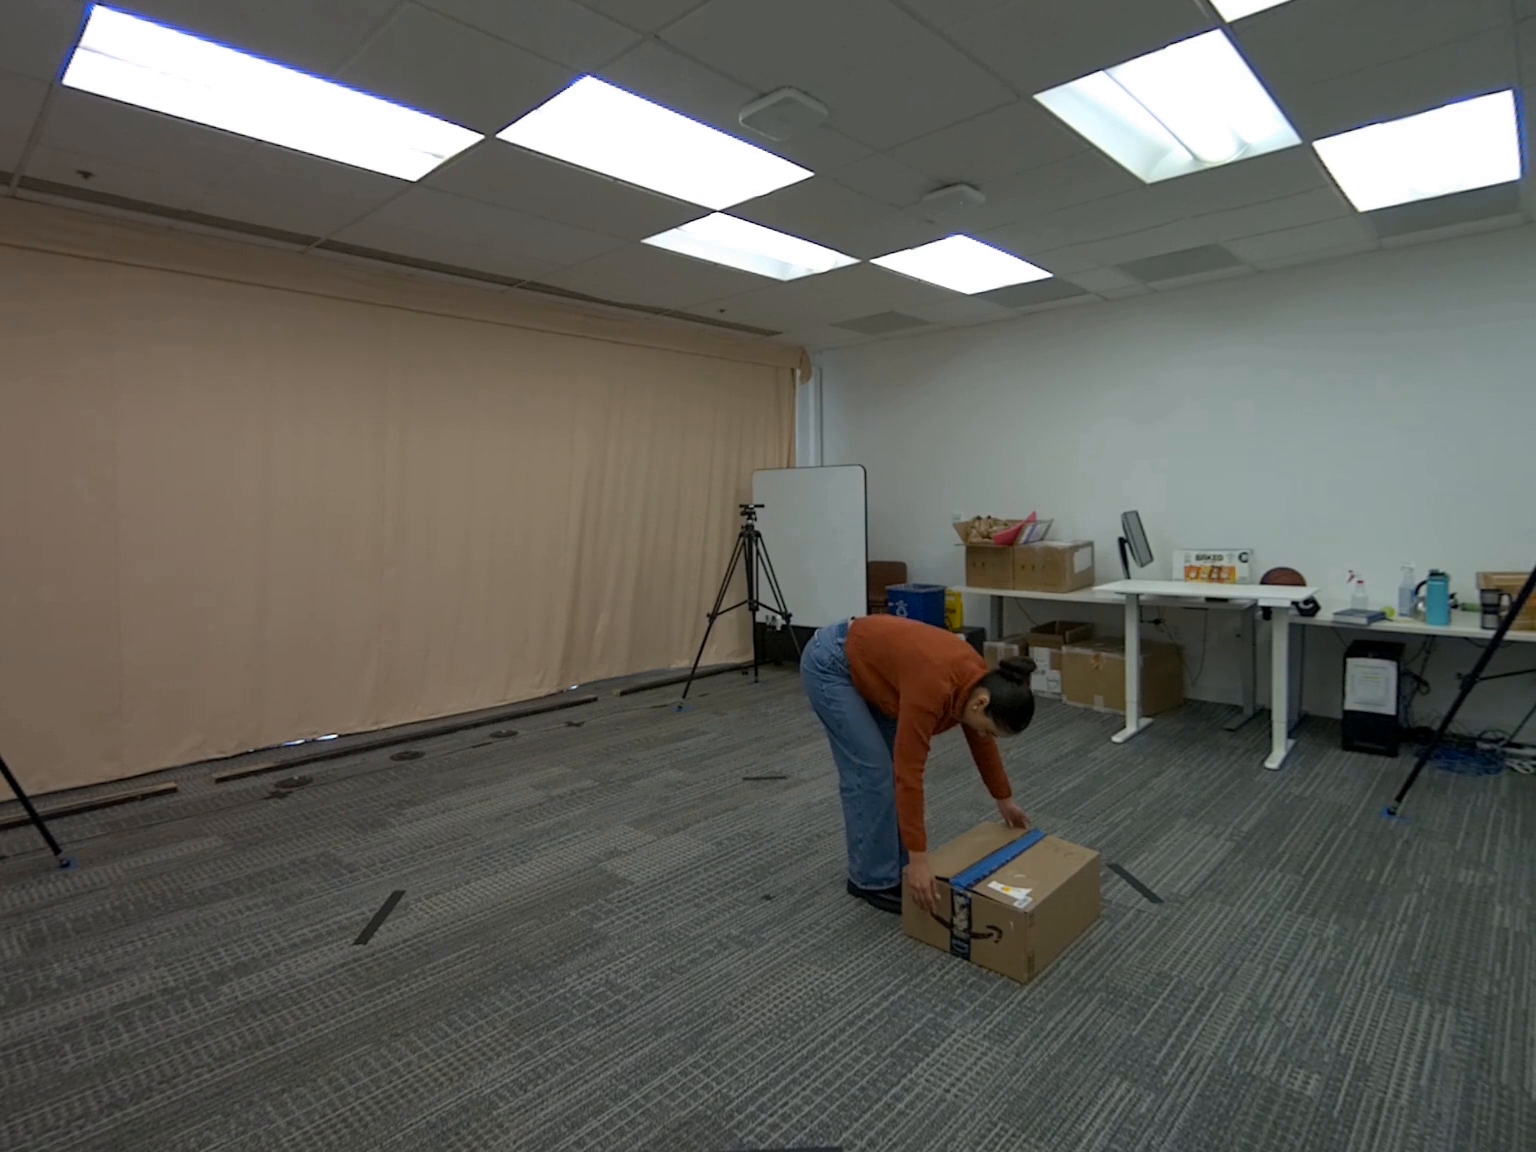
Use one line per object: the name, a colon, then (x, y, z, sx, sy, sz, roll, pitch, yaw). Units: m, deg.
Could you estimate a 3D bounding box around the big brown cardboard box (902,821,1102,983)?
big brown cardboard box: (0.774, 1.033, 2.749, 0.431, 0.232, 0.571, 3, 6, 43)
